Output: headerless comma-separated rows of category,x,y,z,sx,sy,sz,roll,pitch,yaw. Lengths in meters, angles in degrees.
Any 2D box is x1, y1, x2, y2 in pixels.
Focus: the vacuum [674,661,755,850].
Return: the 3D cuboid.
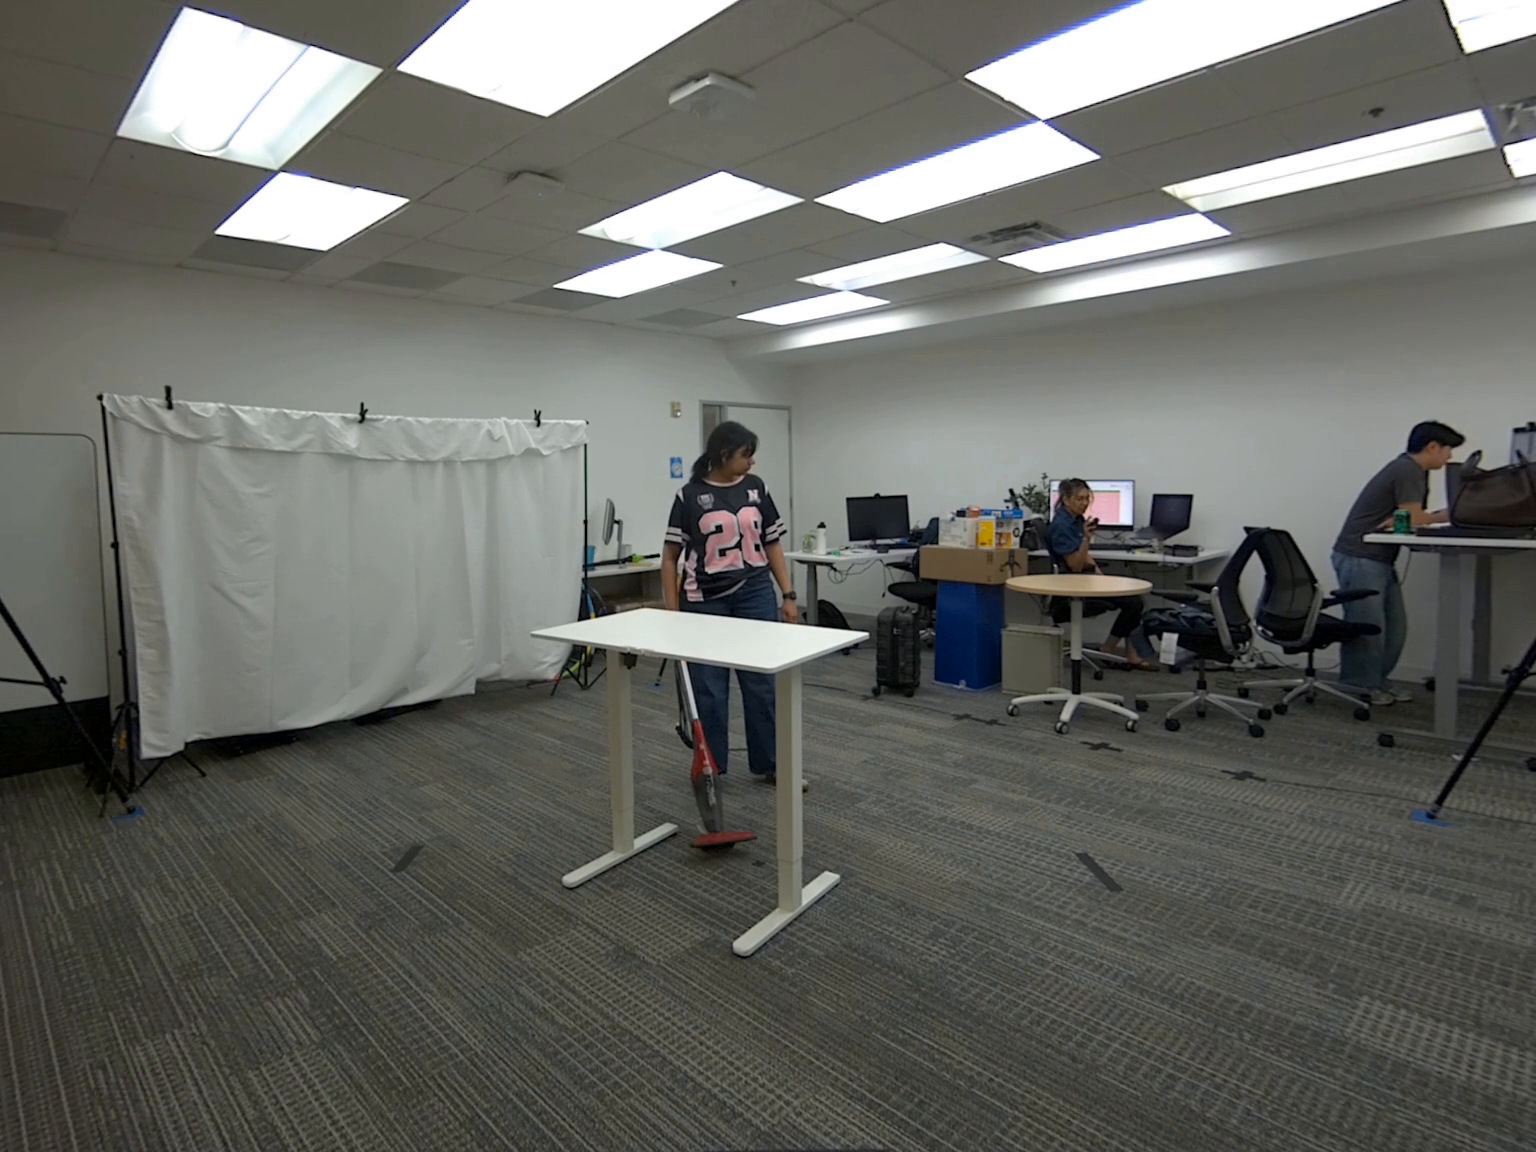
vacuum,-0.310,0.621,3.556,0.248,0.141,1.086,-3,47,-19
